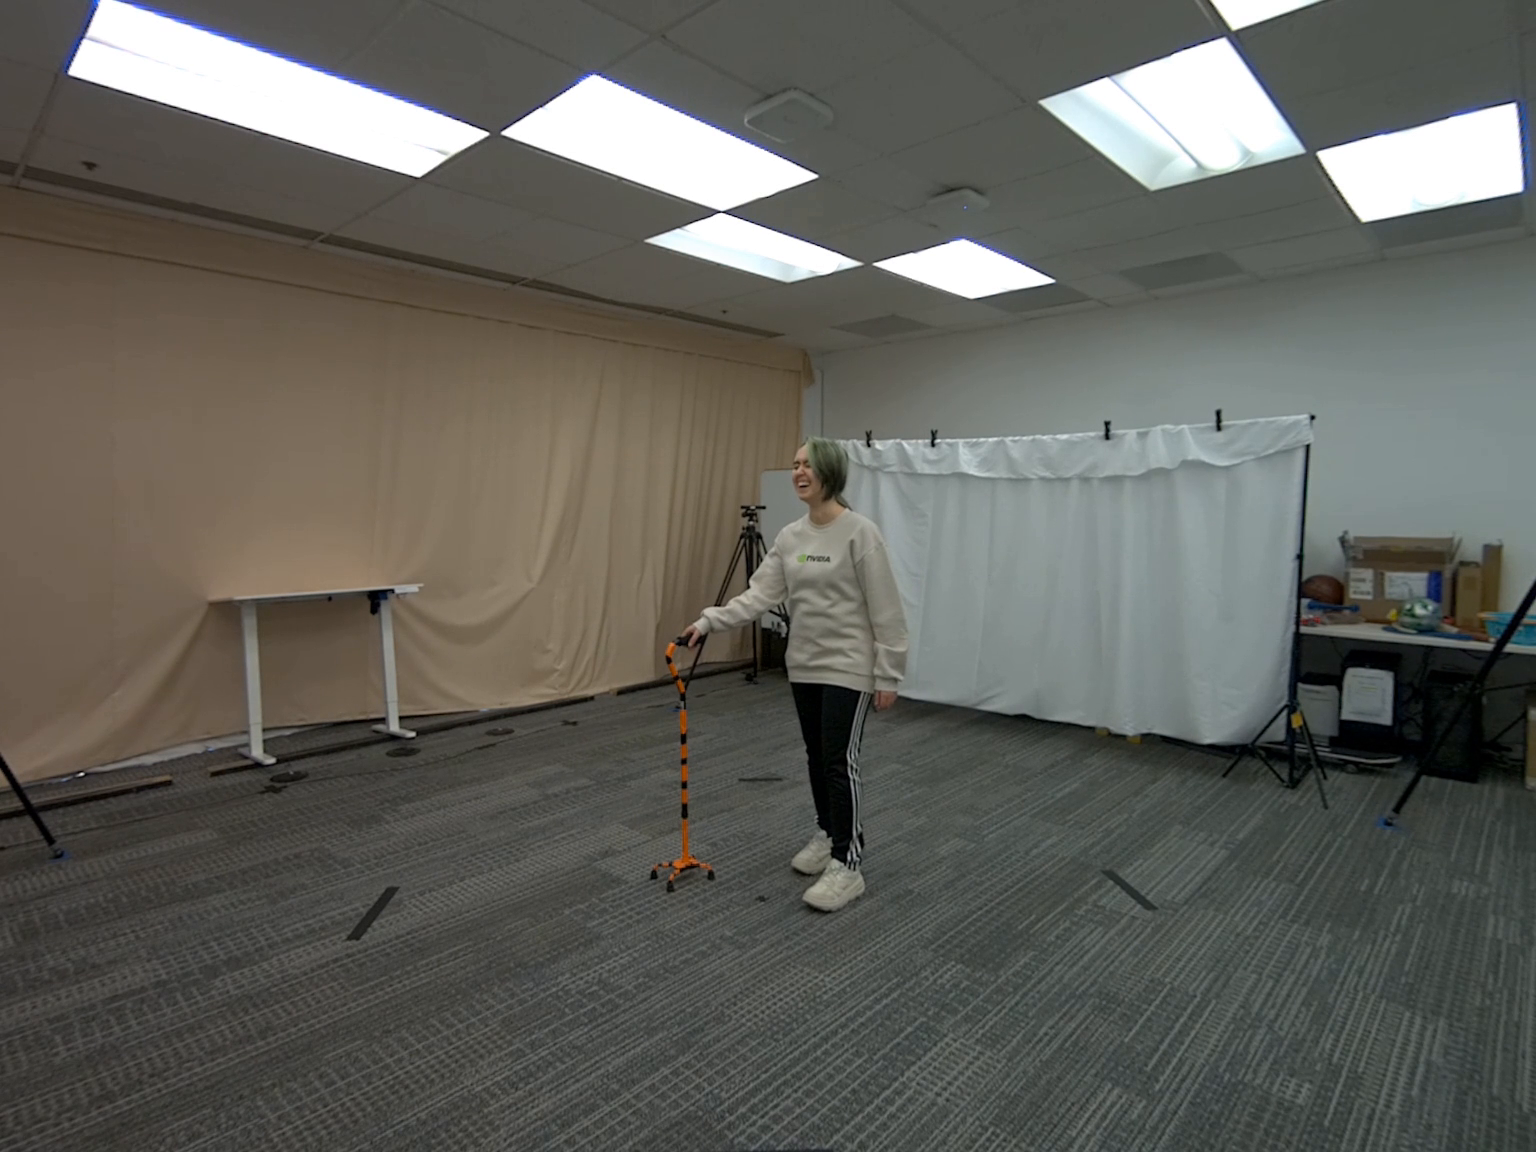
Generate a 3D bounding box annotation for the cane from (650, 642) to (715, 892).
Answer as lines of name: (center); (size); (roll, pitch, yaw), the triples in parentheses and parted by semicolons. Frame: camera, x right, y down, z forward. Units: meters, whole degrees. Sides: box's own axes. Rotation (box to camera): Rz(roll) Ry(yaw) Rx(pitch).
cane: (-0.327, 0.681, 3.122); (0.201, 0.906, 0.156); (-5, 4, -35)
